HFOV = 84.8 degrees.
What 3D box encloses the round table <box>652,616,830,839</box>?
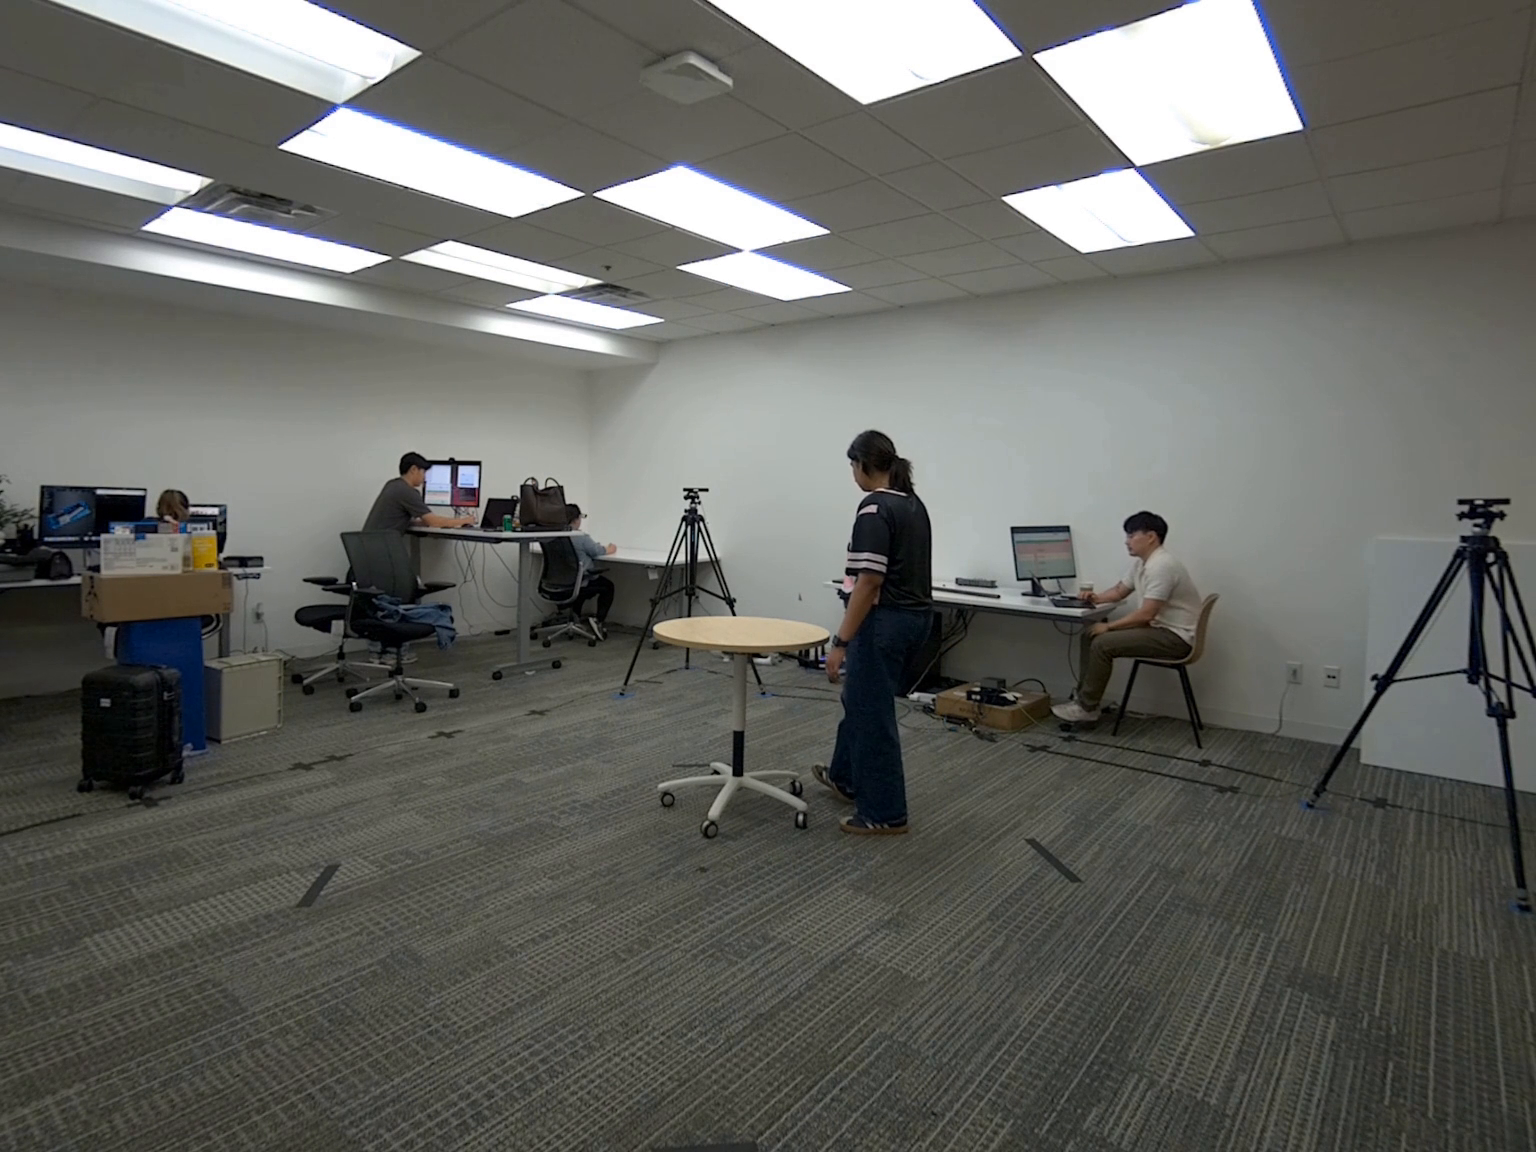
[{"bbox_3d":[-0.140,0.626,3.719,0.763,0.791,0.768,1,4,-2],"label":"round table"}]
